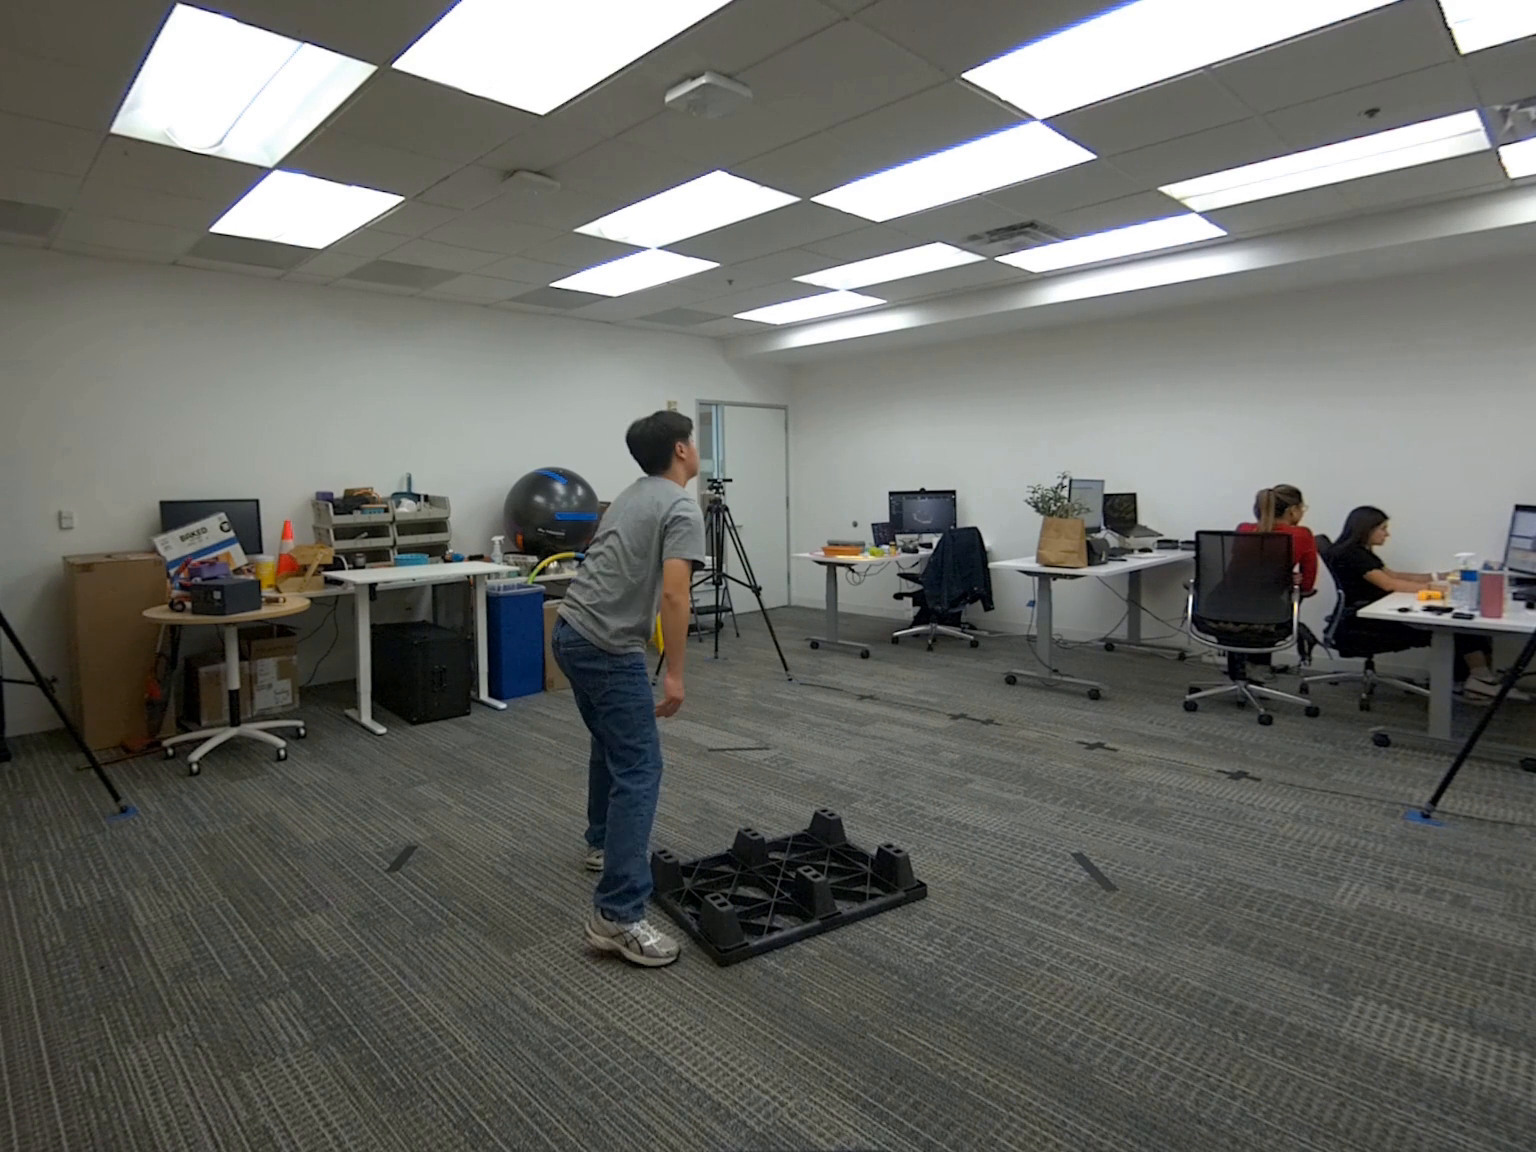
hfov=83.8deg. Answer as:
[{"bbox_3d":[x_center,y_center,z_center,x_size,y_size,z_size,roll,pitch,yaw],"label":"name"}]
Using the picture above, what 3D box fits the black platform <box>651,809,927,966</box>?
[{"bbox_3d":[0.046,1.002,2.897,0.786,0.142,0.623,-5,8,-31],"label":"black platform"}]
